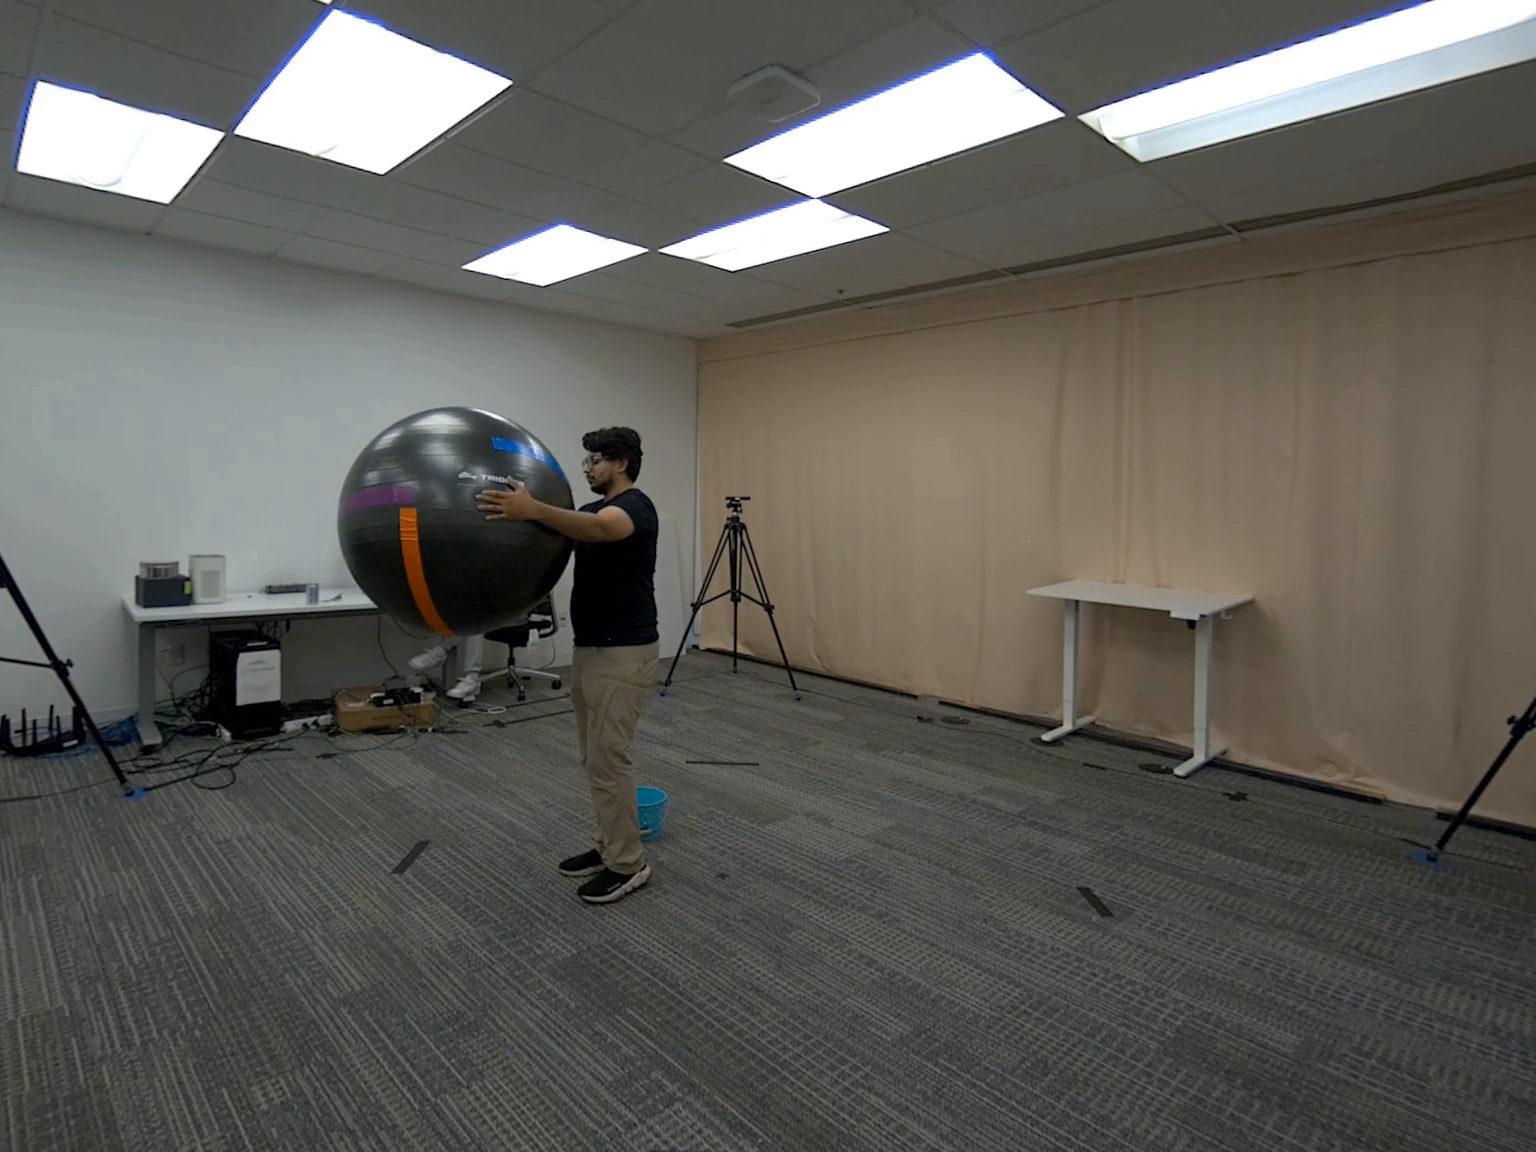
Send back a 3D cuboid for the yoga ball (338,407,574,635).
[{"bbox_3d":[-1.059,-0.170,2.810,0.757,0.756,0.761,1,4,-1],"label":"yoga ball"}]
